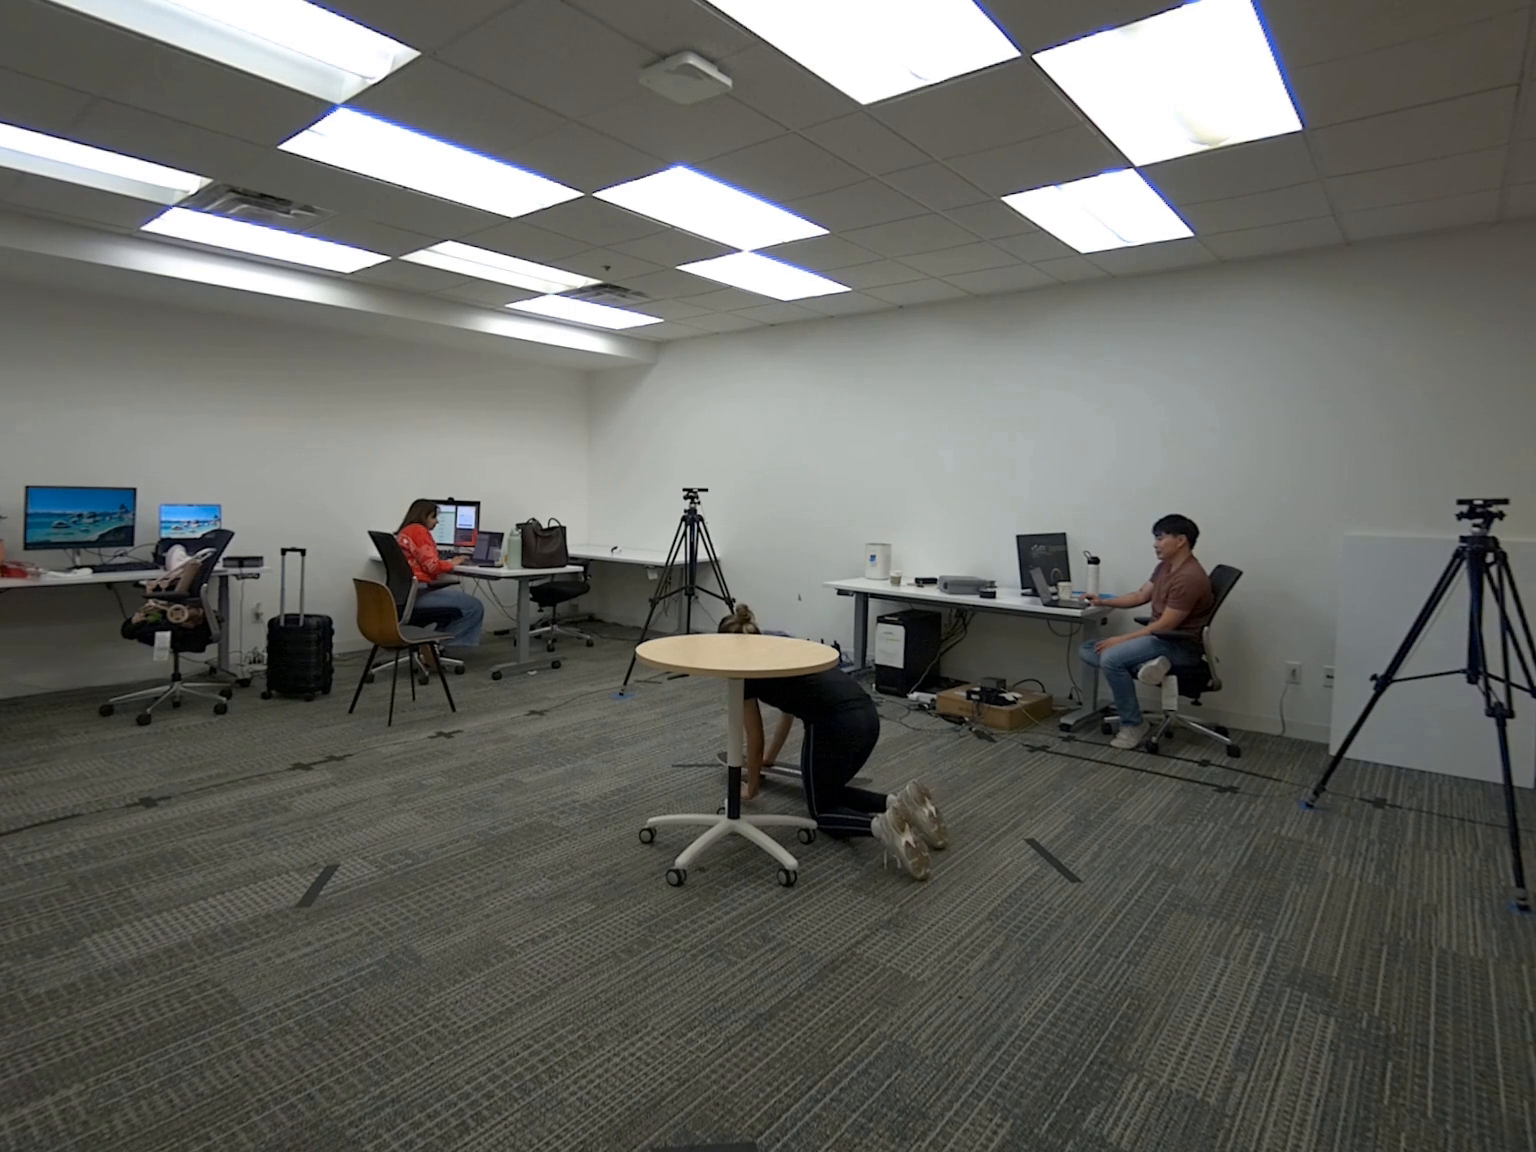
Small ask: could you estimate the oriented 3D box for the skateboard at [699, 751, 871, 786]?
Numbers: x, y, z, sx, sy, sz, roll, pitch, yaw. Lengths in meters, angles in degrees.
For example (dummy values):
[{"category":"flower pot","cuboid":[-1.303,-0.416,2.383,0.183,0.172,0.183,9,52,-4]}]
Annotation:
[{"category":"skateboard","cuboid":[0.097,0.934,3.958,0.809,0.110,0.188,4,3,31]}]
